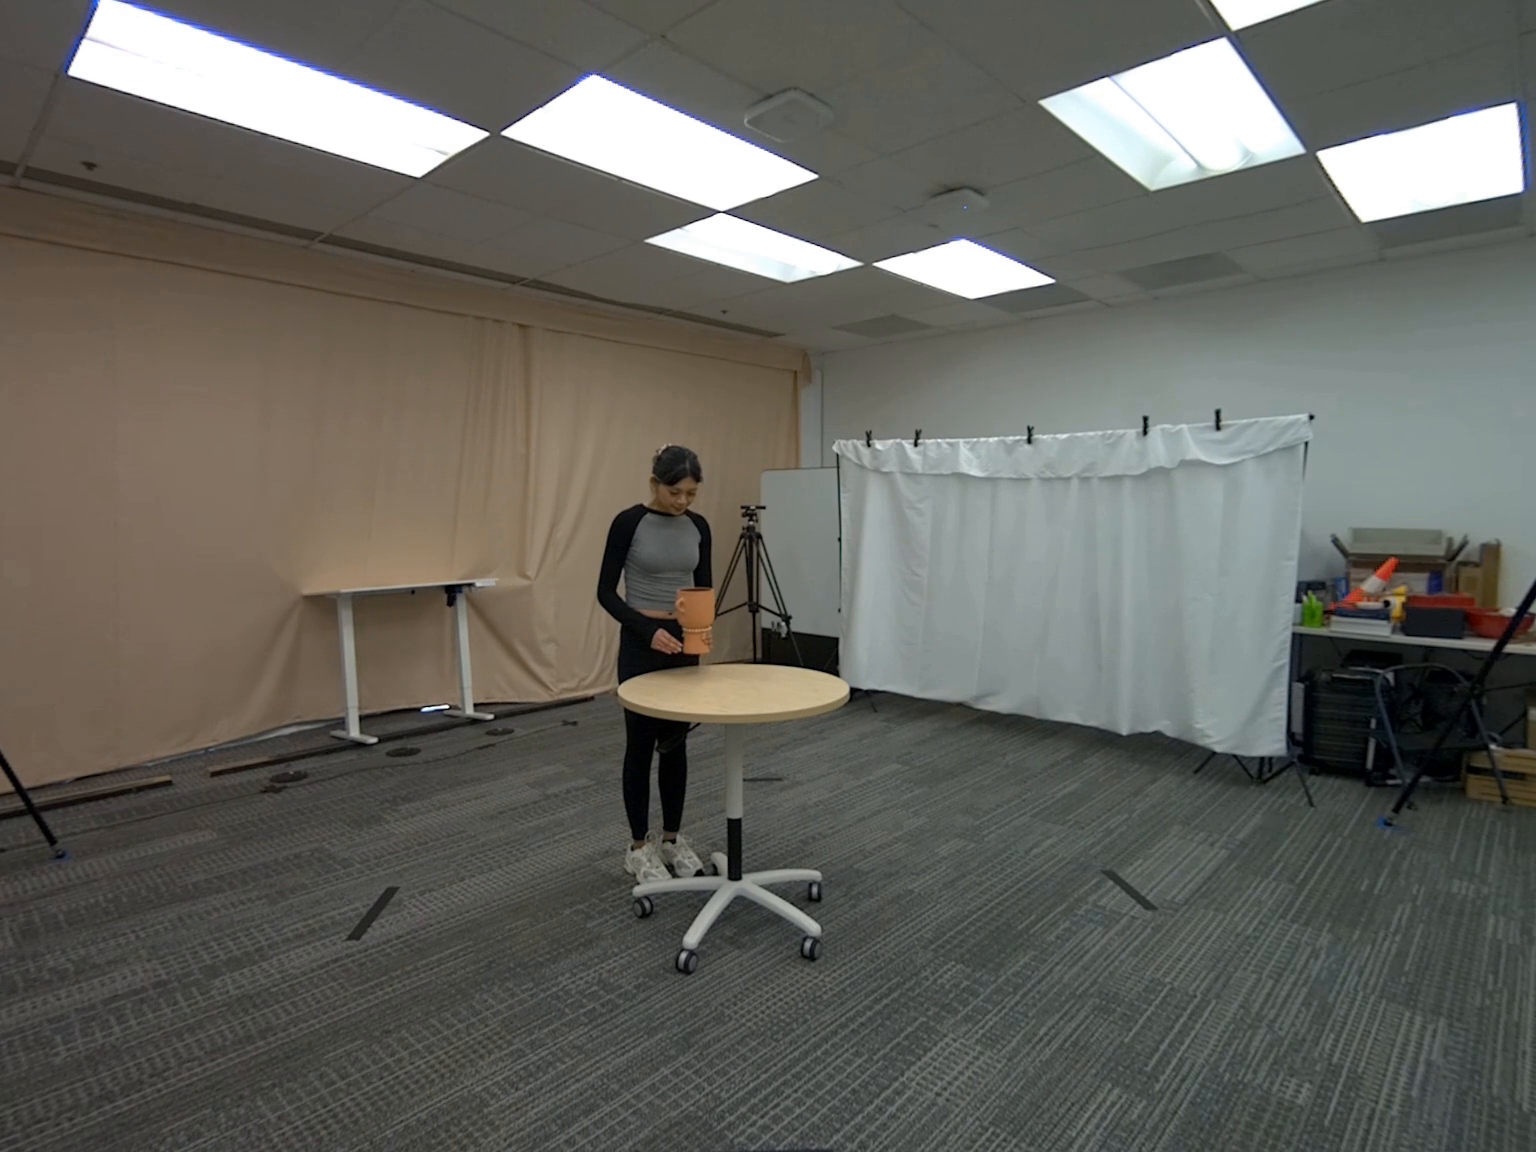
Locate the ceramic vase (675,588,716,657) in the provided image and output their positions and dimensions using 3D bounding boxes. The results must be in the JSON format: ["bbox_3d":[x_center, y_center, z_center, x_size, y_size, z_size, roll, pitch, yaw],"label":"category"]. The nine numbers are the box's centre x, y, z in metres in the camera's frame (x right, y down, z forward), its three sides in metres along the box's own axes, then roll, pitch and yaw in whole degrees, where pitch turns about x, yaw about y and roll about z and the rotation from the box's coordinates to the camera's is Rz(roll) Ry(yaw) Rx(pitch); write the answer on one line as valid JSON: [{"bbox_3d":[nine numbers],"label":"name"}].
[{"bbox_3d":[-0.253,0.158,2.978,0.157,0.219,0.137,-2,6,-11],"label":"ceramic vase"}]
